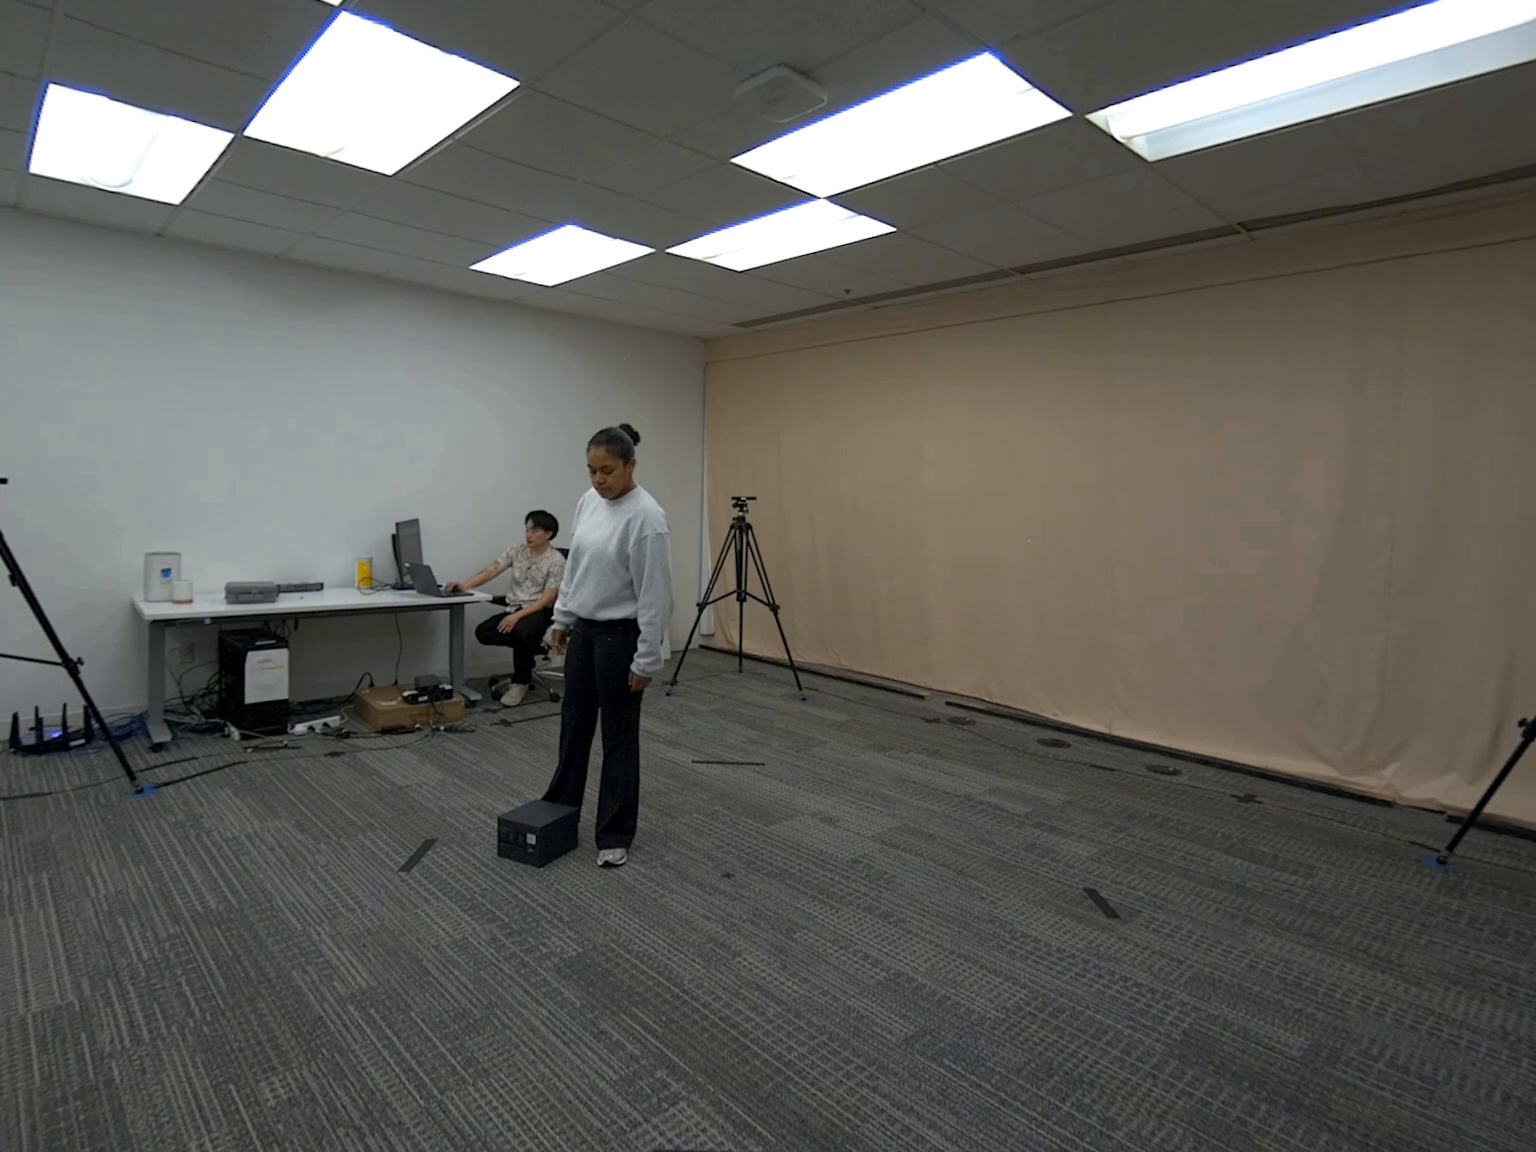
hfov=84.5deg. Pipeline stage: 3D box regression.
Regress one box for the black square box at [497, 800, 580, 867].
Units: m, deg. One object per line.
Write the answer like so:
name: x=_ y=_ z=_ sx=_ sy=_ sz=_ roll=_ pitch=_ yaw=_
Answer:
black square box: x=-0.903 y=0.996 z=3.249 sx=0.221 sy=0.155 sz=0.224 roll=4 pitch=5 yaw=25
